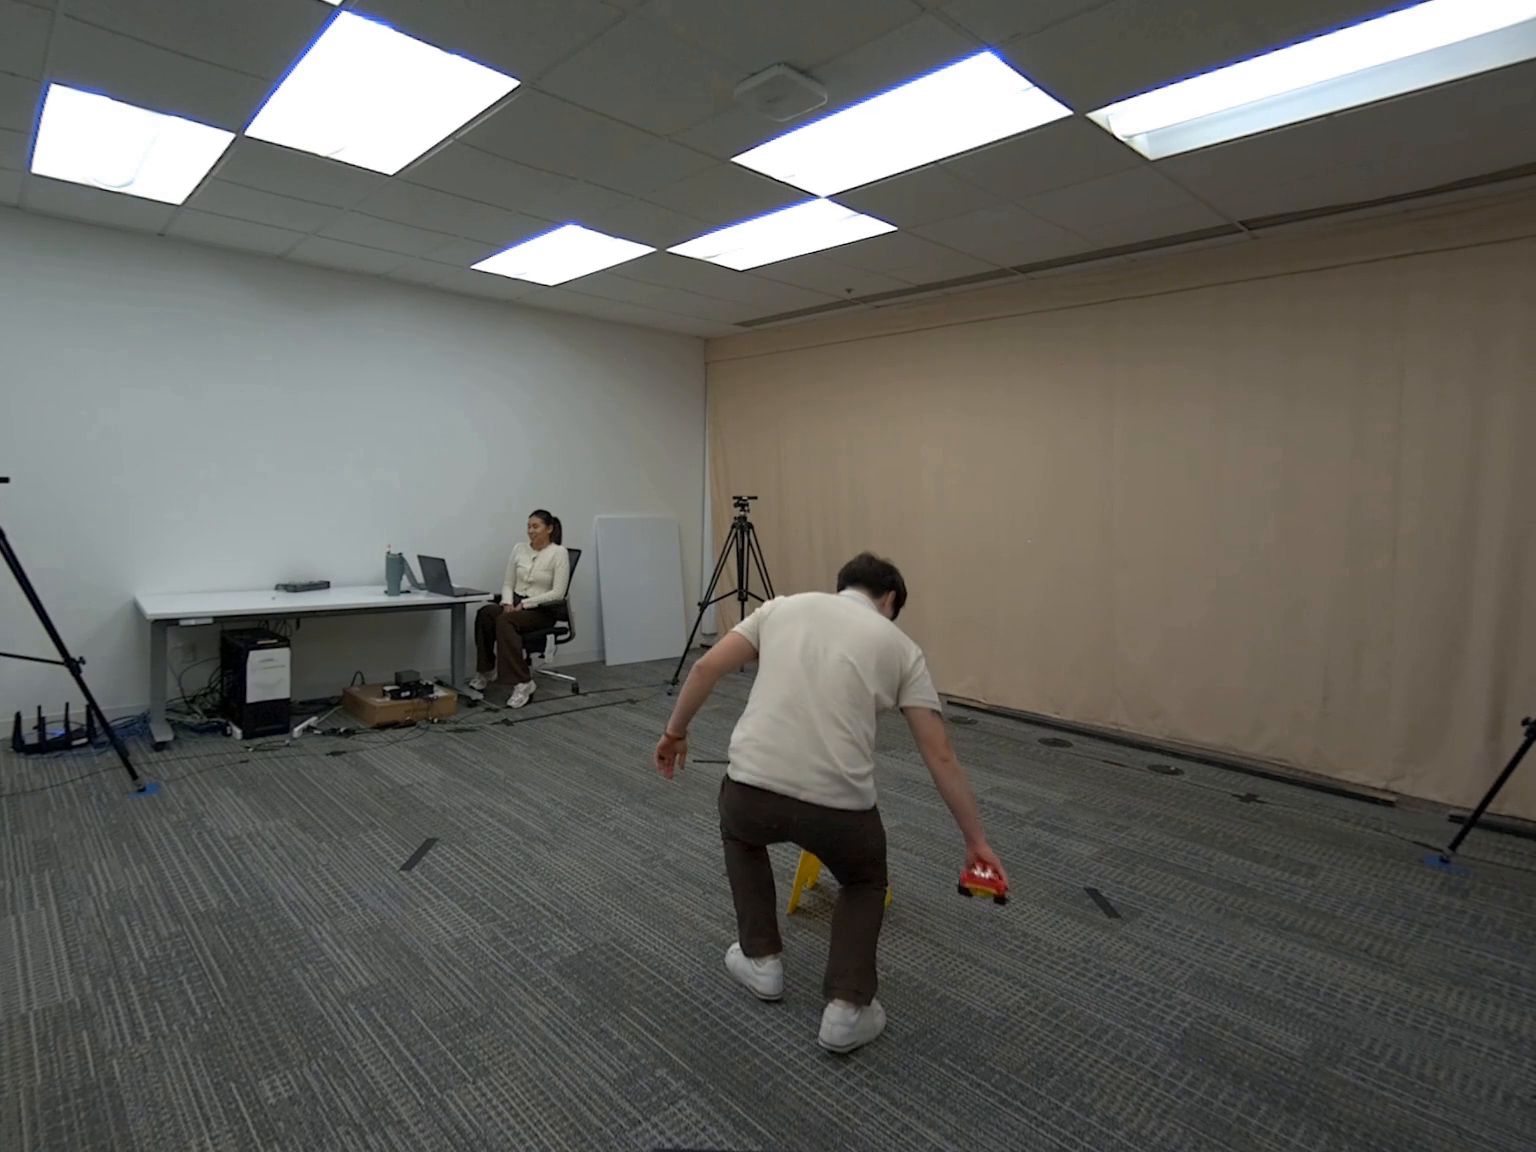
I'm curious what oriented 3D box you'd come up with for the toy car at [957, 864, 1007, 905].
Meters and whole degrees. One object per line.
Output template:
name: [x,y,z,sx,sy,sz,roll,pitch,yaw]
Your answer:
toy car: [0.540,0.813,2.187,0.132,0.084,0.248,11,-30,13]
